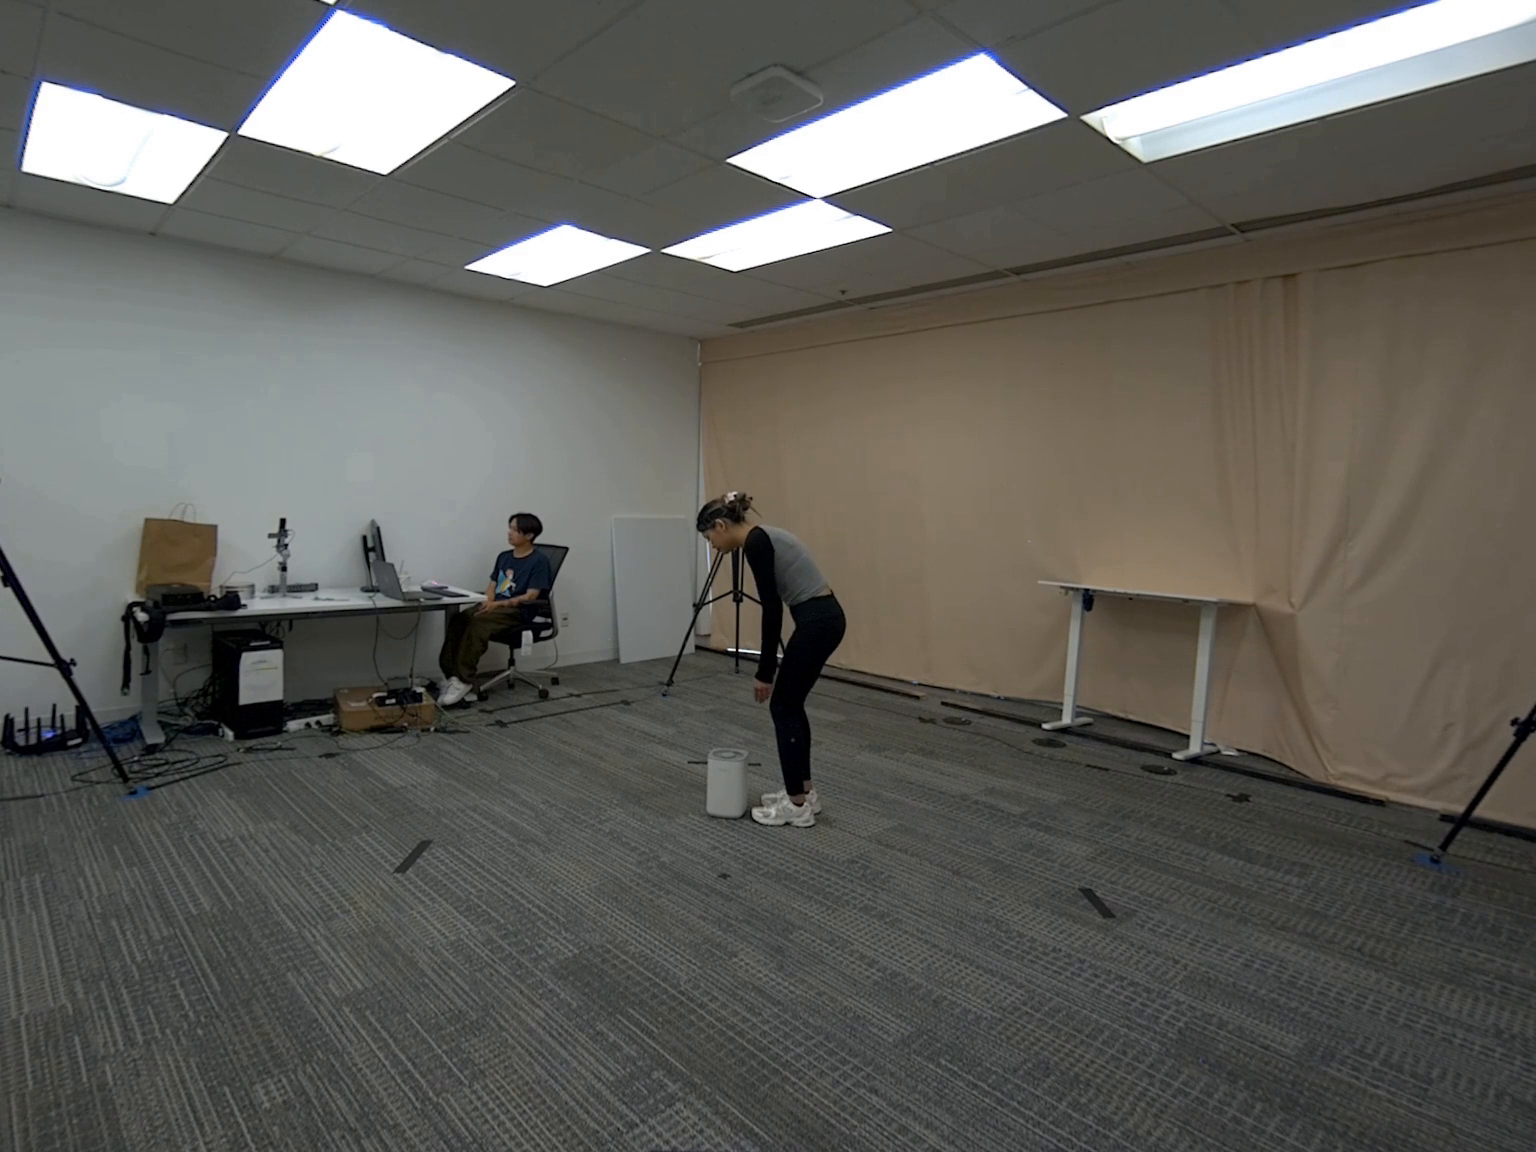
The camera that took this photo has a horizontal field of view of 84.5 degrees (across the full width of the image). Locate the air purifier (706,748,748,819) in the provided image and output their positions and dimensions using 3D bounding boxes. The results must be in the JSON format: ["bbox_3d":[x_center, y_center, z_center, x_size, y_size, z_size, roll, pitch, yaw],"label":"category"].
[{"bbox_3d":[-0.181,0.912,3.730,0.172,0.265,0.170,1,4,9],"label":"air purifier"}]
